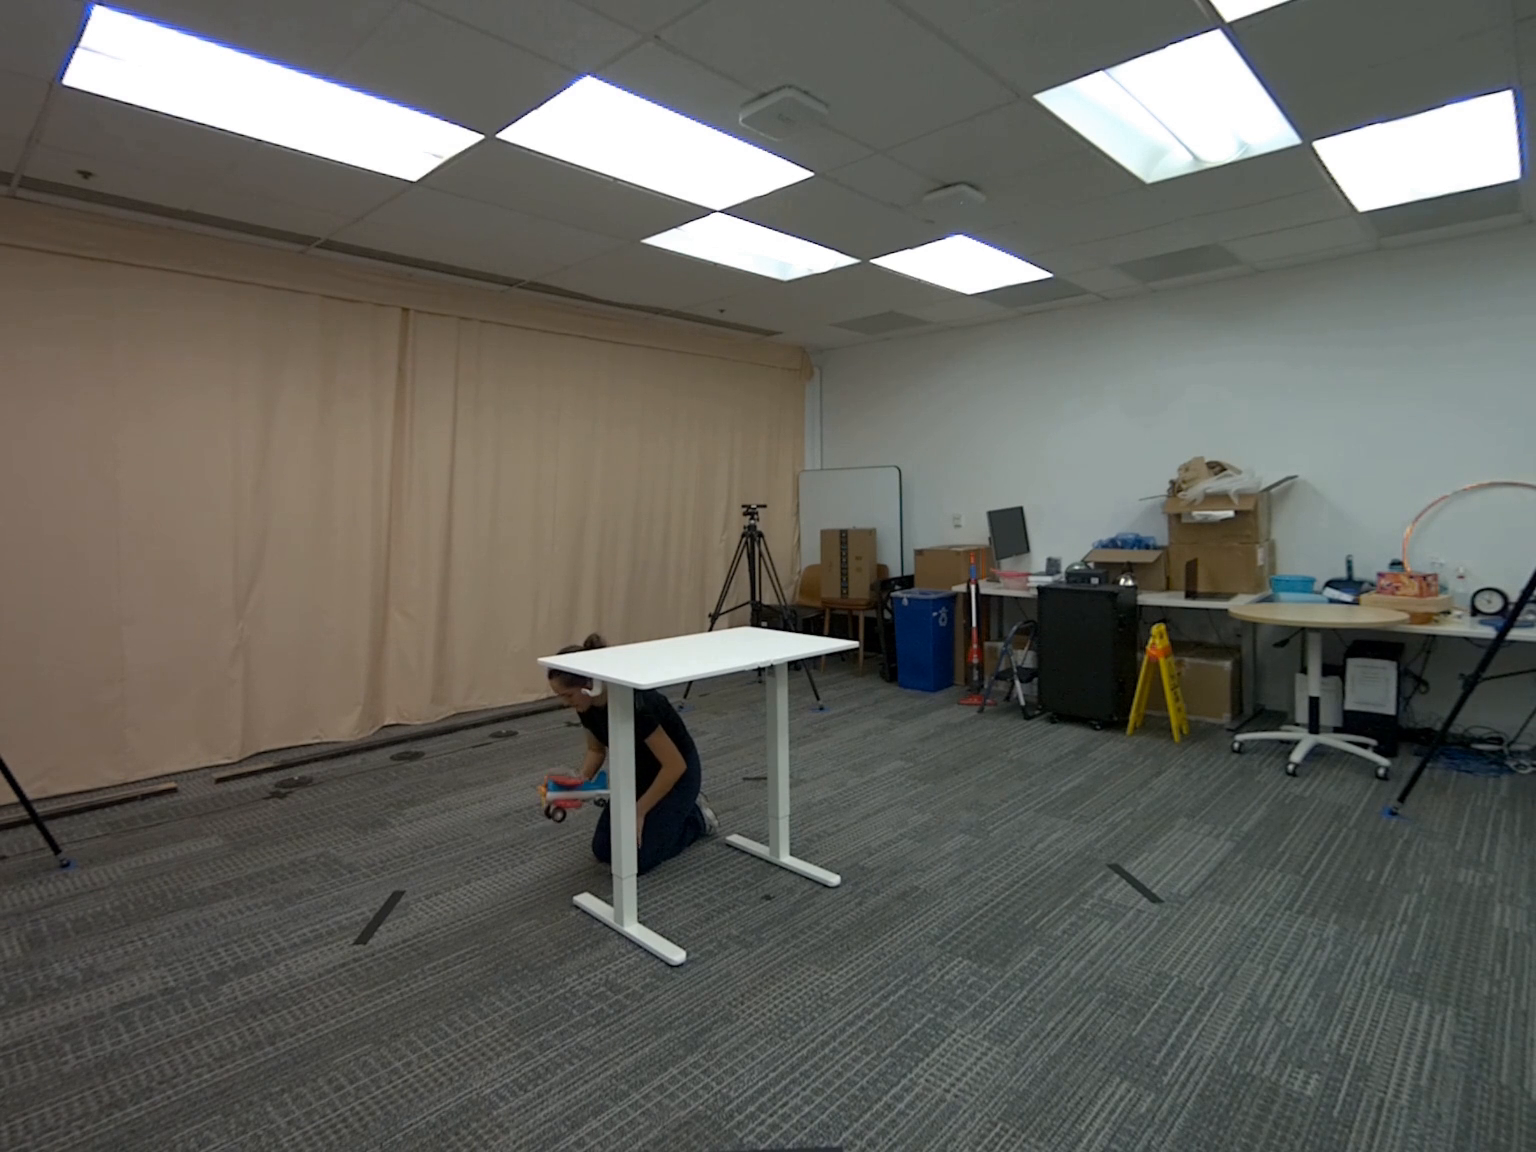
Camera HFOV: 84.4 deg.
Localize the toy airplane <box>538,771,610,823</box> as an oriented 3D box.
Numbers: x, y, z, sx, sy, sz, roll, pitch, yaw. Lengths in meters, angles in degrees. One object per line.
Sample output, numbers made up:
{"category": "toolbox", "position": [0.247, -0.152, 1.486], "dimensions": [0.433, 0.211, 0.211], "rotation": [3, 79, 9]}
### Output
{"category": "toy airplane", "position": [-0.720, 0.806, 3.128], "dimensions": [0.257, 0.157, 0.252], "rotation": [-13, -1, 33]}
